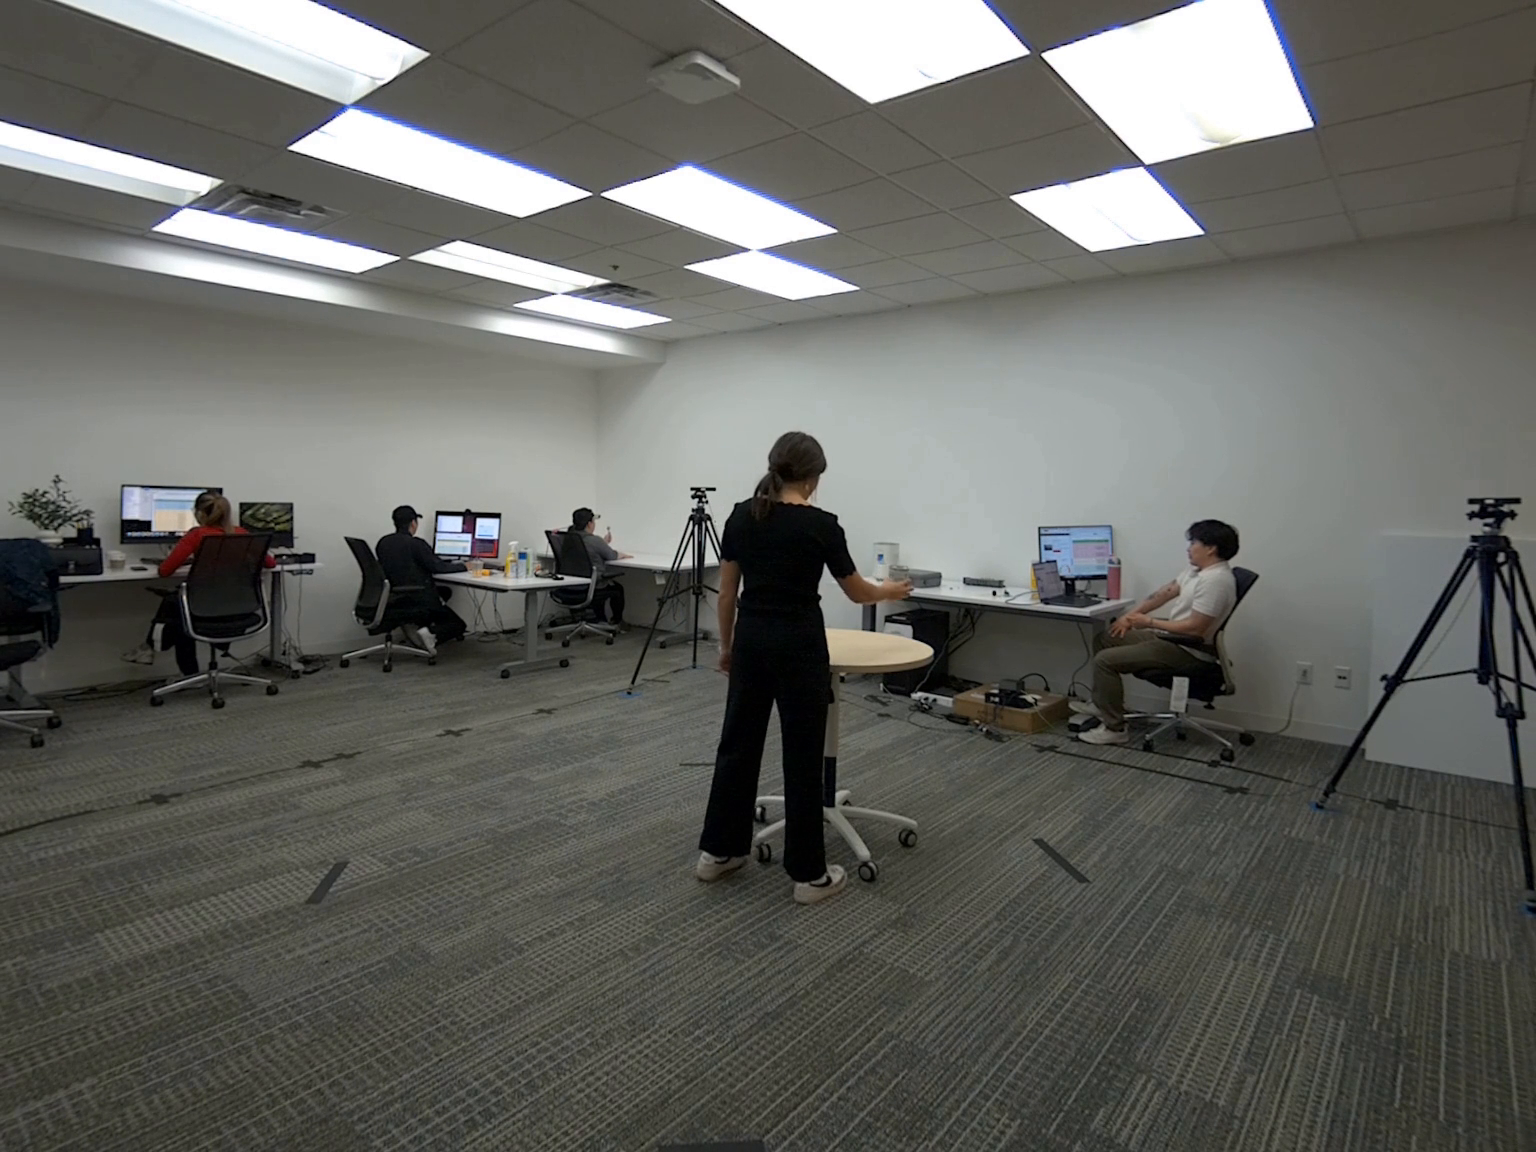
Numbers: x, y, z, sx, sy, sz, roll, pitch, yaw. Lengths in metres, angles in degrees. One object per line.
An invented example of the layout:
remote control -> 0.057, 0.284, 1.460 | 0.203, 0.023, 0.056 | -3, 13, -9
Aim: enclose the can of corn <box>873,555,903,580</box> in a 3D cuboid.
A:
can of corn -> 0.471, 0.011, 3.217 | 0.074, 0.110, 0.074 | 2, 4, -2
